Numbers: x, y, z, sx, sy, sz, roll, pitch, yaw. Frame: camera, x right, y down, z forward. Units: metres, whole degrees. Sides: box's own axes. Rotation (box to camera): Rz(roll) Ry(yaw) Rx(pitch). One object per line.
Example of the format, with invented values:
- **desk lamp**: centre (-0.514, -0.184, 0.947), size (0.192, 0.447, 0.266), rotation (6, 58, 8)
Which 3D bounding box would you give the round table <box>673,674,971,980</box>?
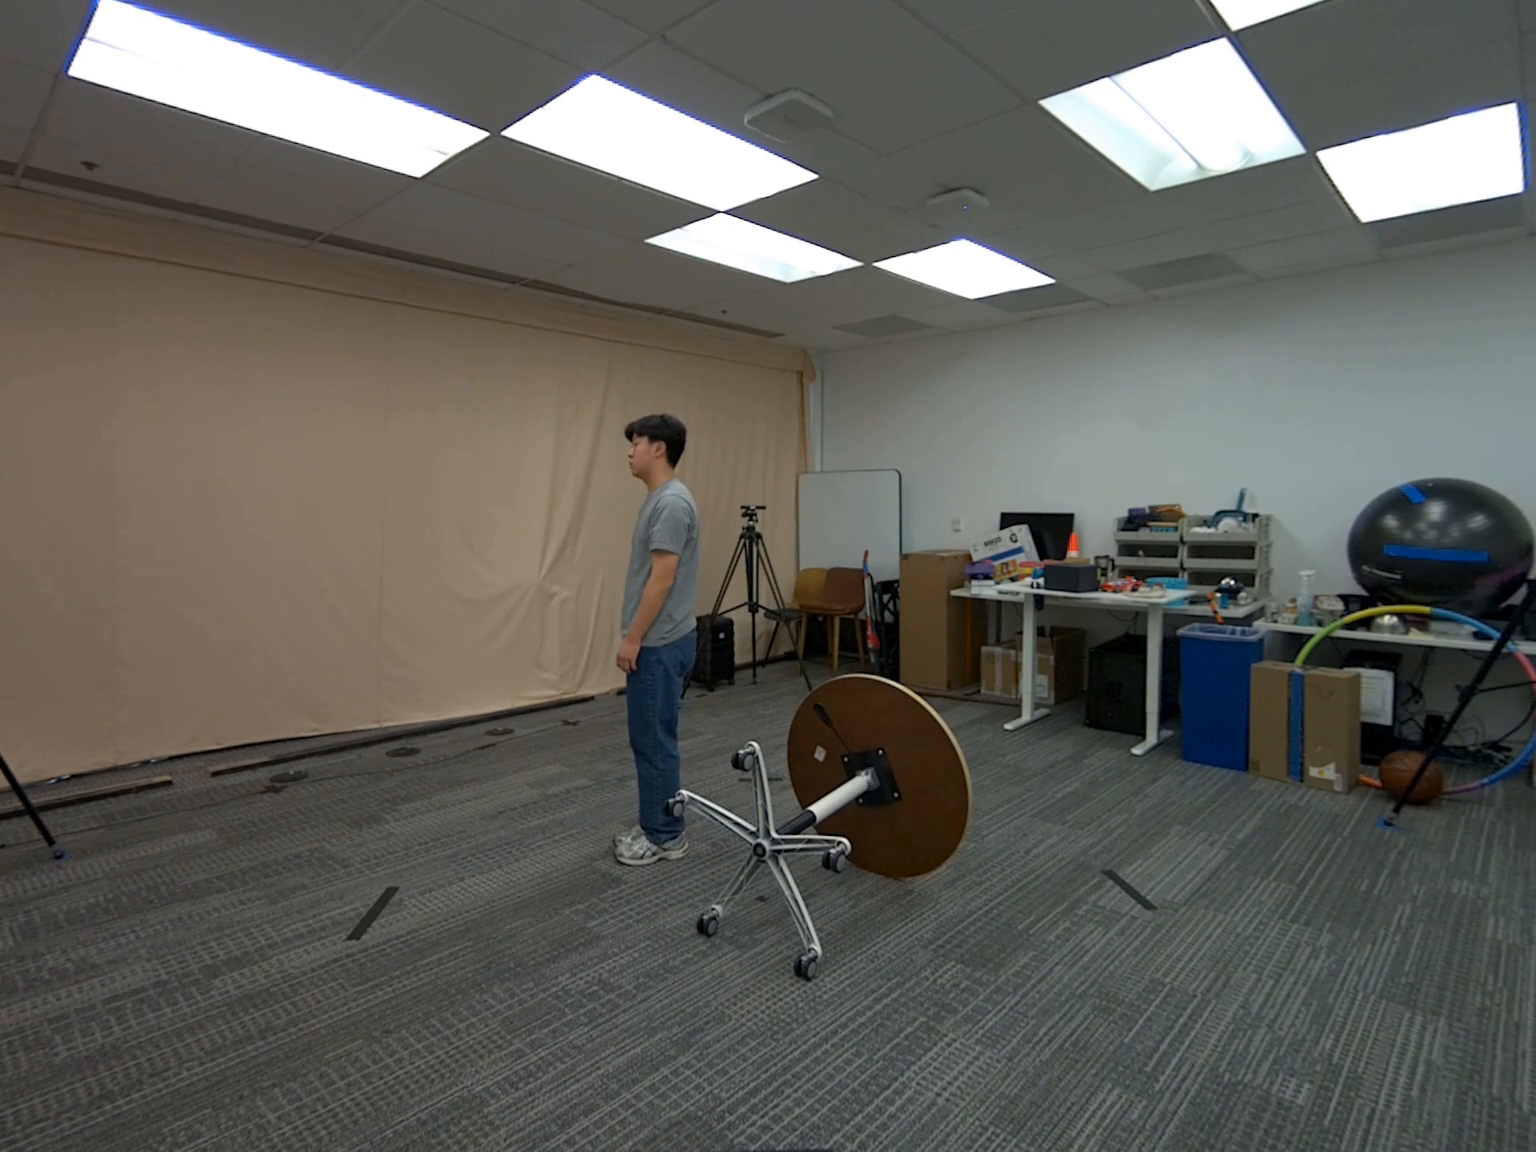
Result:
- **round table**: centre (0.172, 0.809, 2.854), size (0.789, 0.759, 0.773), rotation (3, 11, 39)
